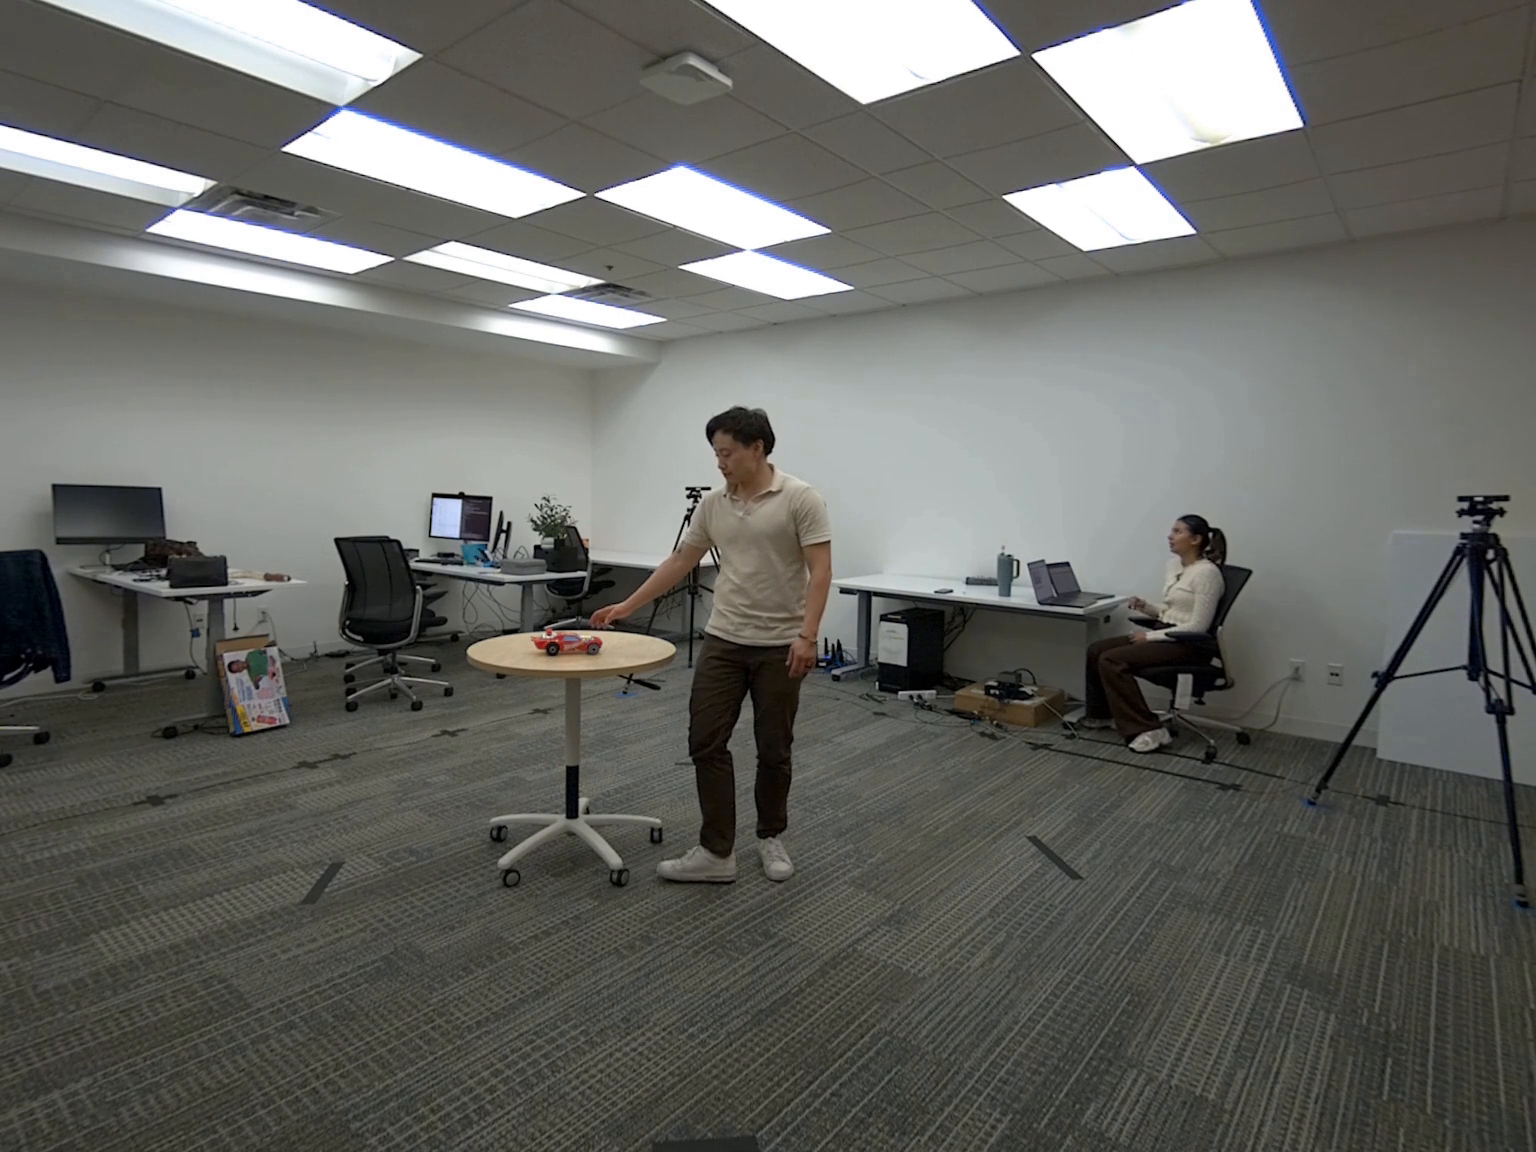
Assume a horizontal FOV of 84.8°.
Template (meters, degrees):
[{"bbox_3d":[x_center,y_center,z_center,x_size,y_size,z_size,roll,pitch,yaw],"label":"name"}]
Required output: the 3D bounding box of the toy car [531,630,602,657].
[{"bbox_3d":[-0.748,0.242,3.089,0.249,0.083,0.133,12,2,-17],"label":"toy car"}]
